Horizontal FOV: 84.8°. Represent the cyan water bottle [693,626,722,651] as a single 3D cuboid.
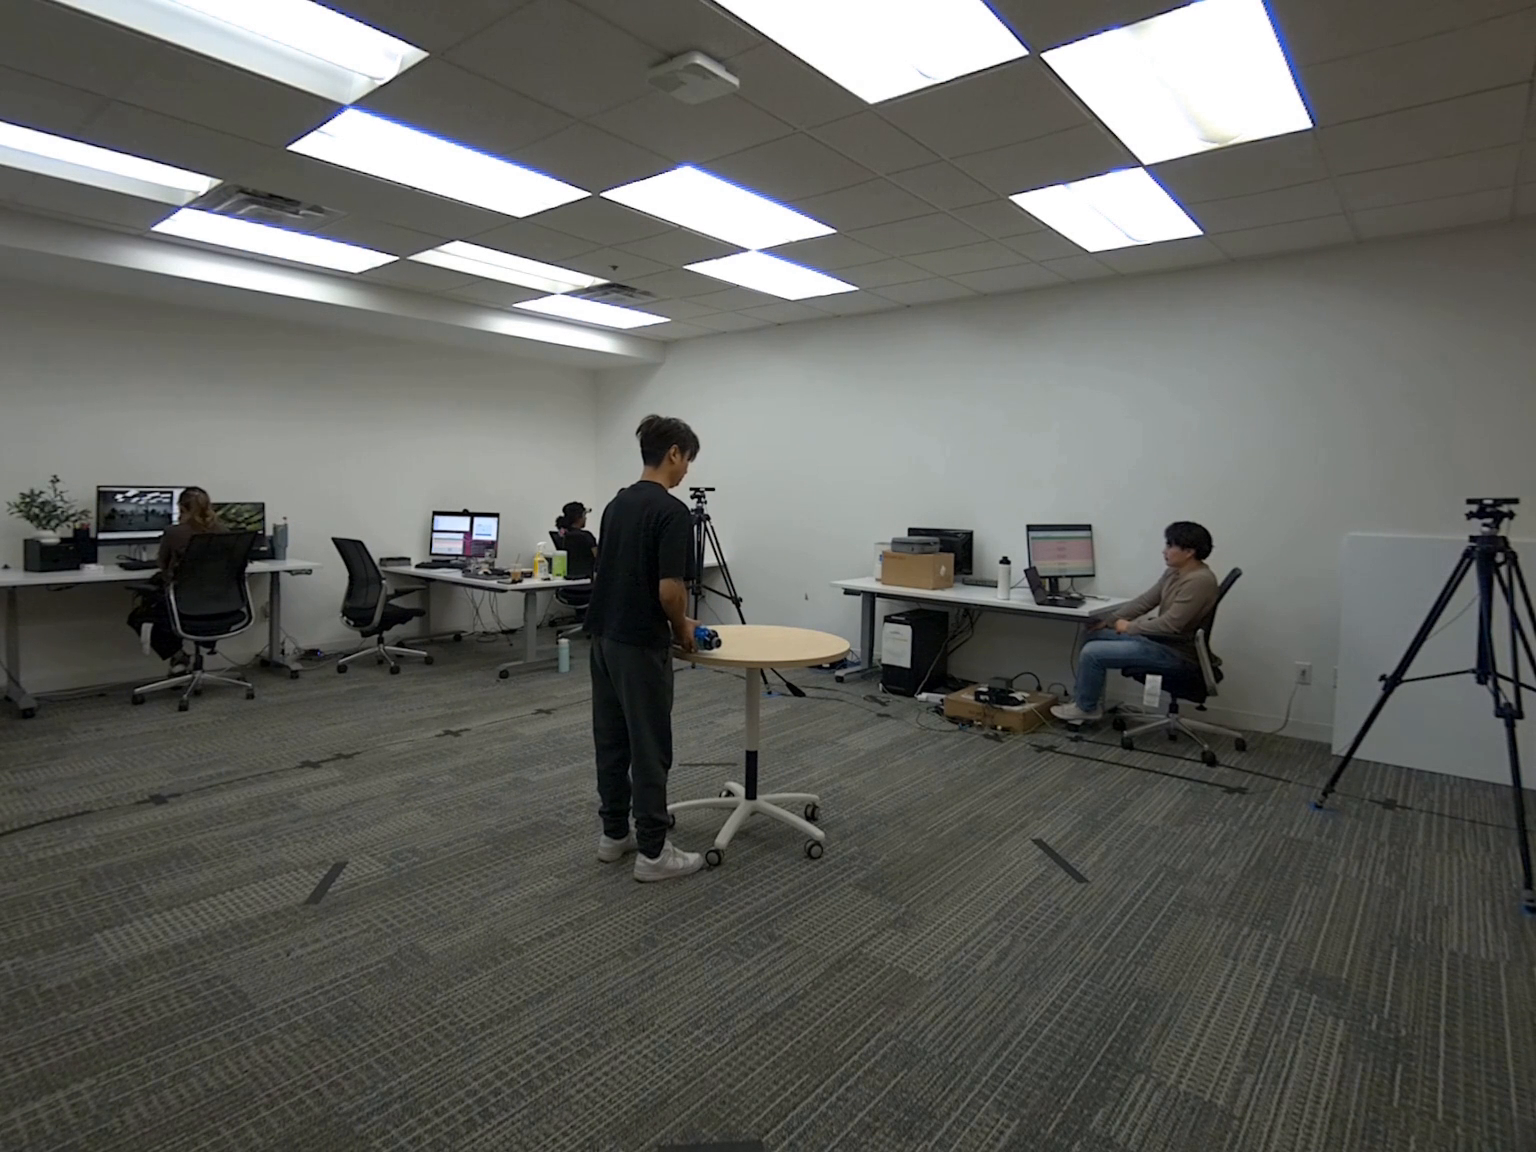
[{"bbox_3d":[-0.295,0.223,3.206,0.089,0.092,0.293,-3,6,-41],"label":"cyan water bottle"}]
